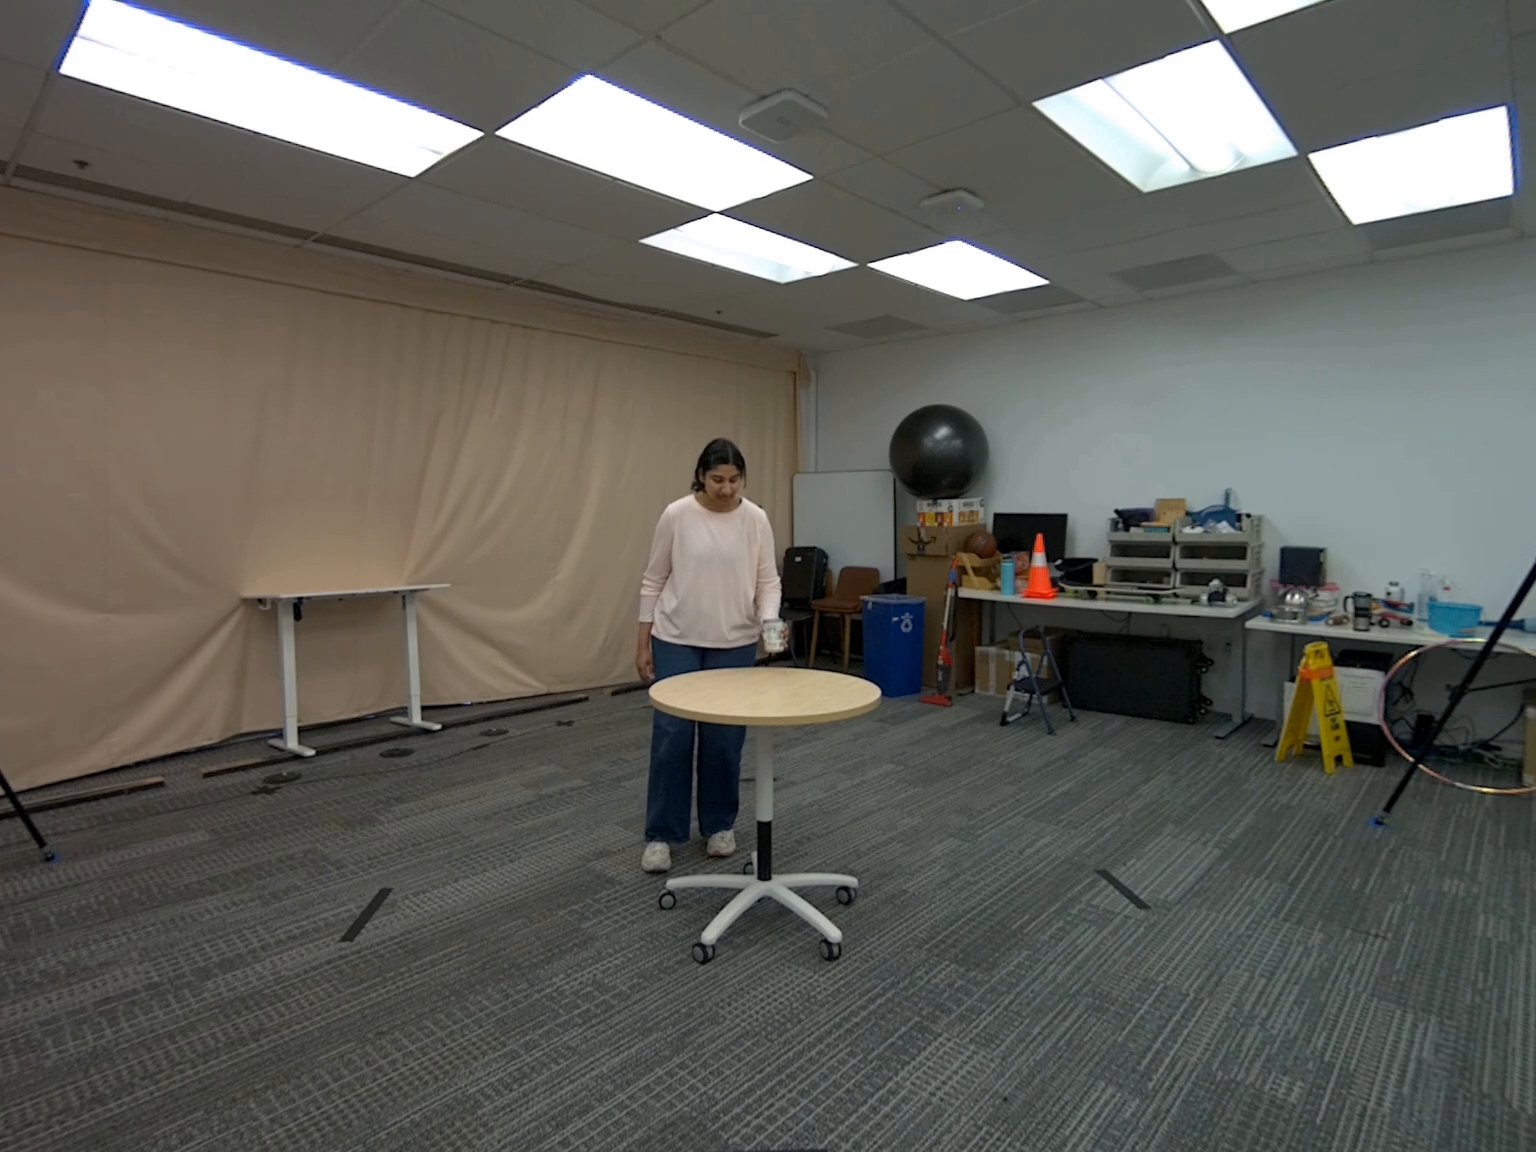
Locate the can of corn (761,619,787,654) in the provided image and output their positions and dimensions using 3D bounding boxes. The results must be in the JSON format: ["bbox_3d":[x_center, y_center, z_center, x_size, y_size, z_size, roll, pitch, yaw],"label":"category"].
[{"bbox_3d":[0.018,0.220,3.079,0.074,0.111,0.074,-2,-2,-2],"label":"can of corn"}]
